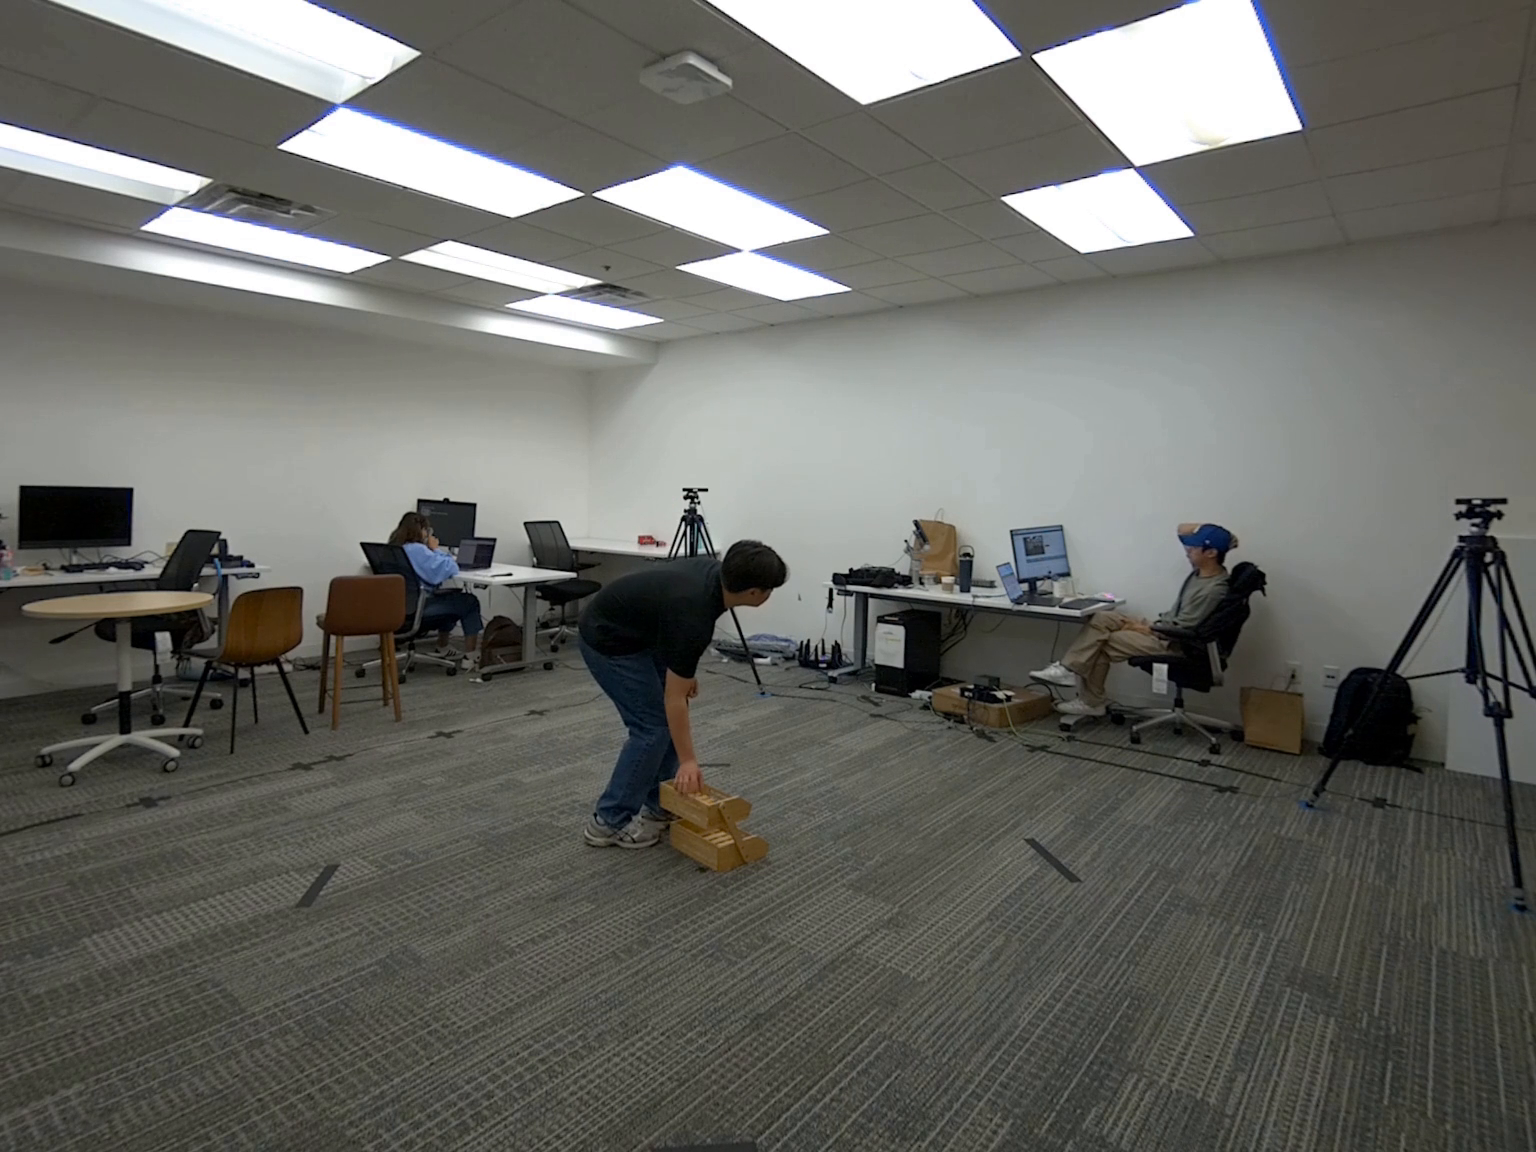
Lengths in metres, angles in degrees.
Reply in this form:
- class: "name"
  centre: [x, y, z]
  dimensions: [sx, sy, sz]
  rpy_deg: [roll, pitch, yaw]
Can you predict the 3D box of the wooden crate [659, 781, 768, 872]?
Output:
- class: "wooden crate"
  centre: [-0.213, 0.920, 3.256]
  dimensions: [0.293, 0.272, 0.335]
  rpy_deg: [-4, 6, -41]
